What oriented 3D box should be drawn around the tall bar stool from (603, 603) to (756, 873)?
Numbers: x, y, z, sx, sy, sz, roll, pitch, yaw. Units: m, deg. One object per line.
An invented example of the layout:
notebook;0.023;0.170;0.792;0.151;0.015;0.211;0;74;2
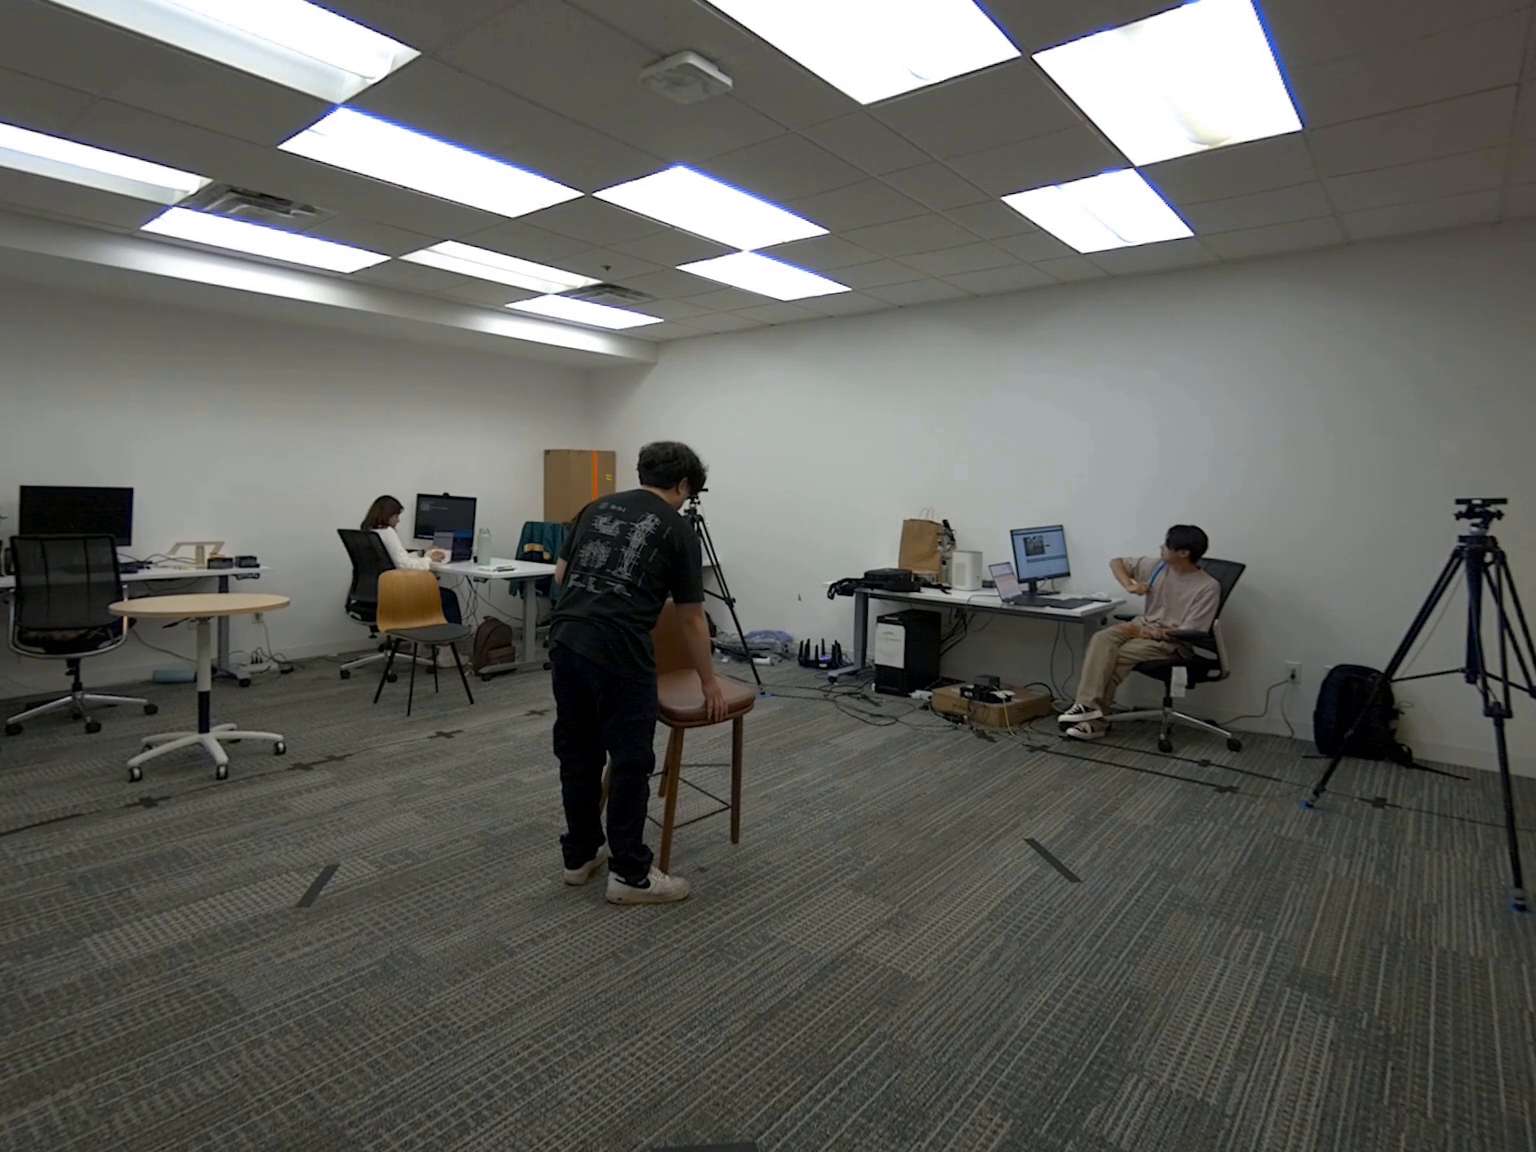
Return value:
tall bar stool;-0.356;0.581;3.297;0.485;0.884;0.442;14;11;42
